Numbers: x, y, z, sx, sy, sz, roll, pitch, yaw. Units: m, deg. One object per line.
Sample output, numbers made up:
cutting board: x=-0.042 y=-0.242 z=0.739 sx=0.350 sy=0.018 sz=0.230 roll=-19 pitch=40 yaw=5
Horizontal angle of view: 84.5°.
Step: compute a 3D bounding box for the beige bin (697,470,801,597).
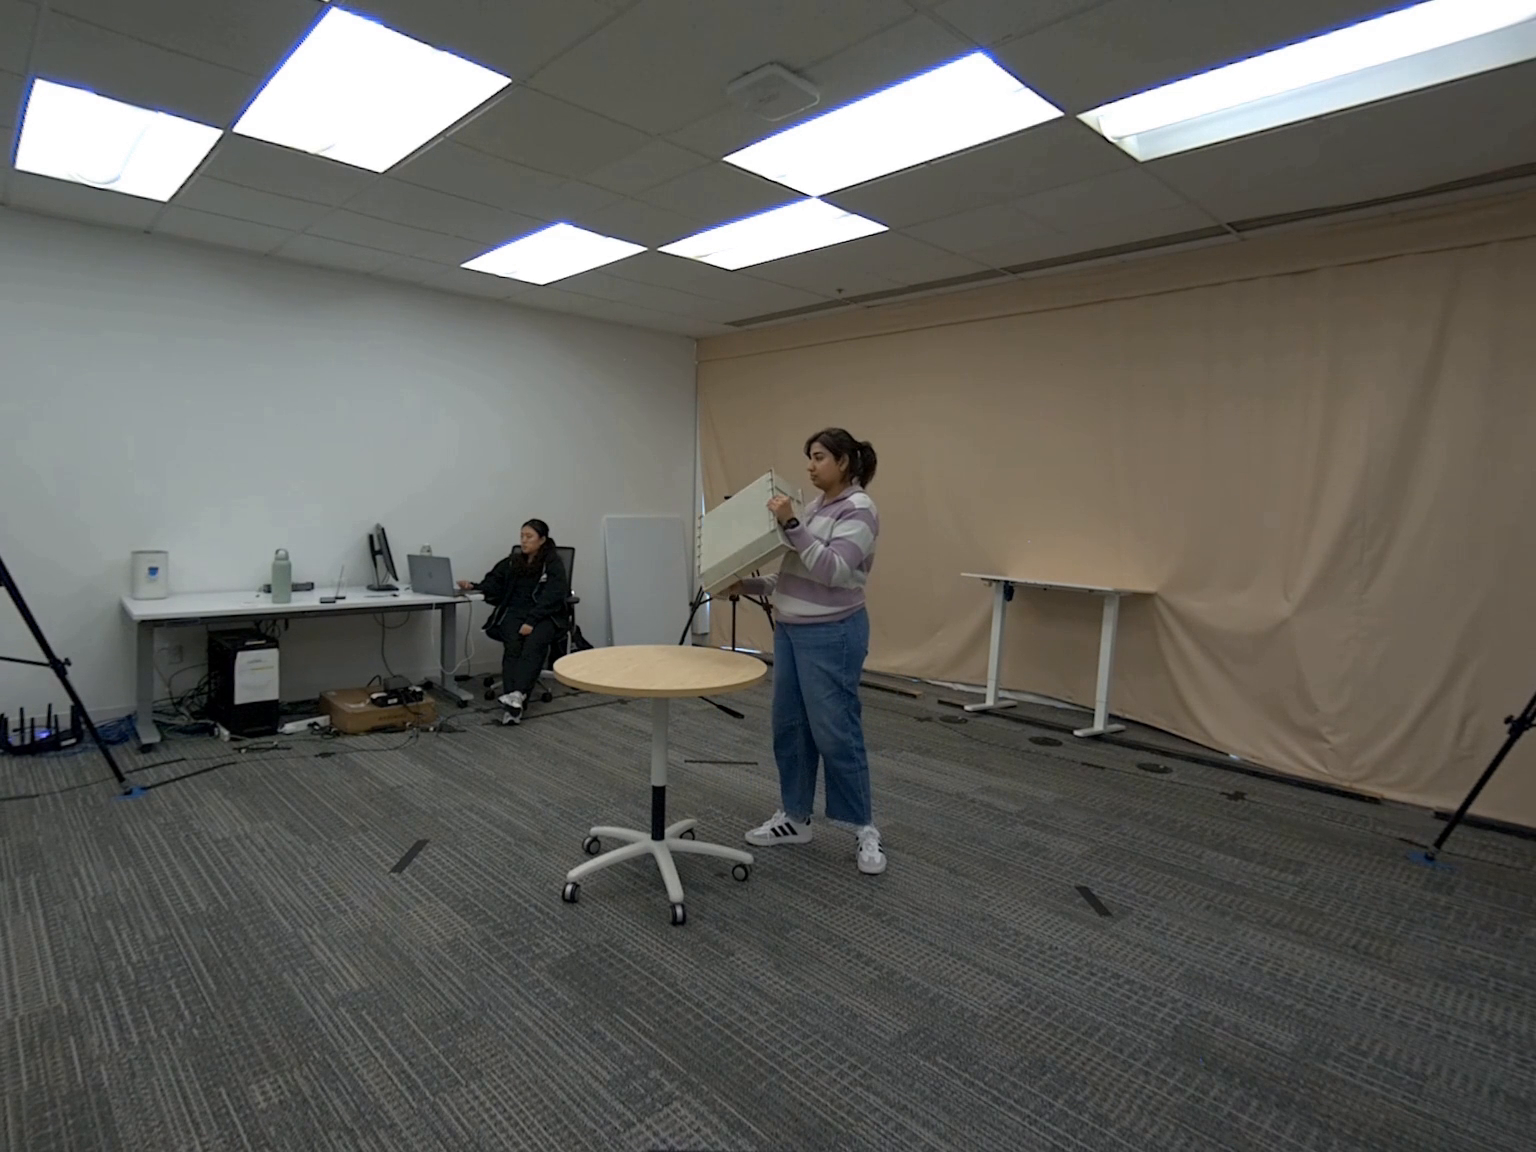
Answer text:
beige bin: x=-0.076 y=-0.145 z=3.279 sx=0.425 sy=0.386 sz=0.183 roll=-31 pitch=-48 yaw=30
